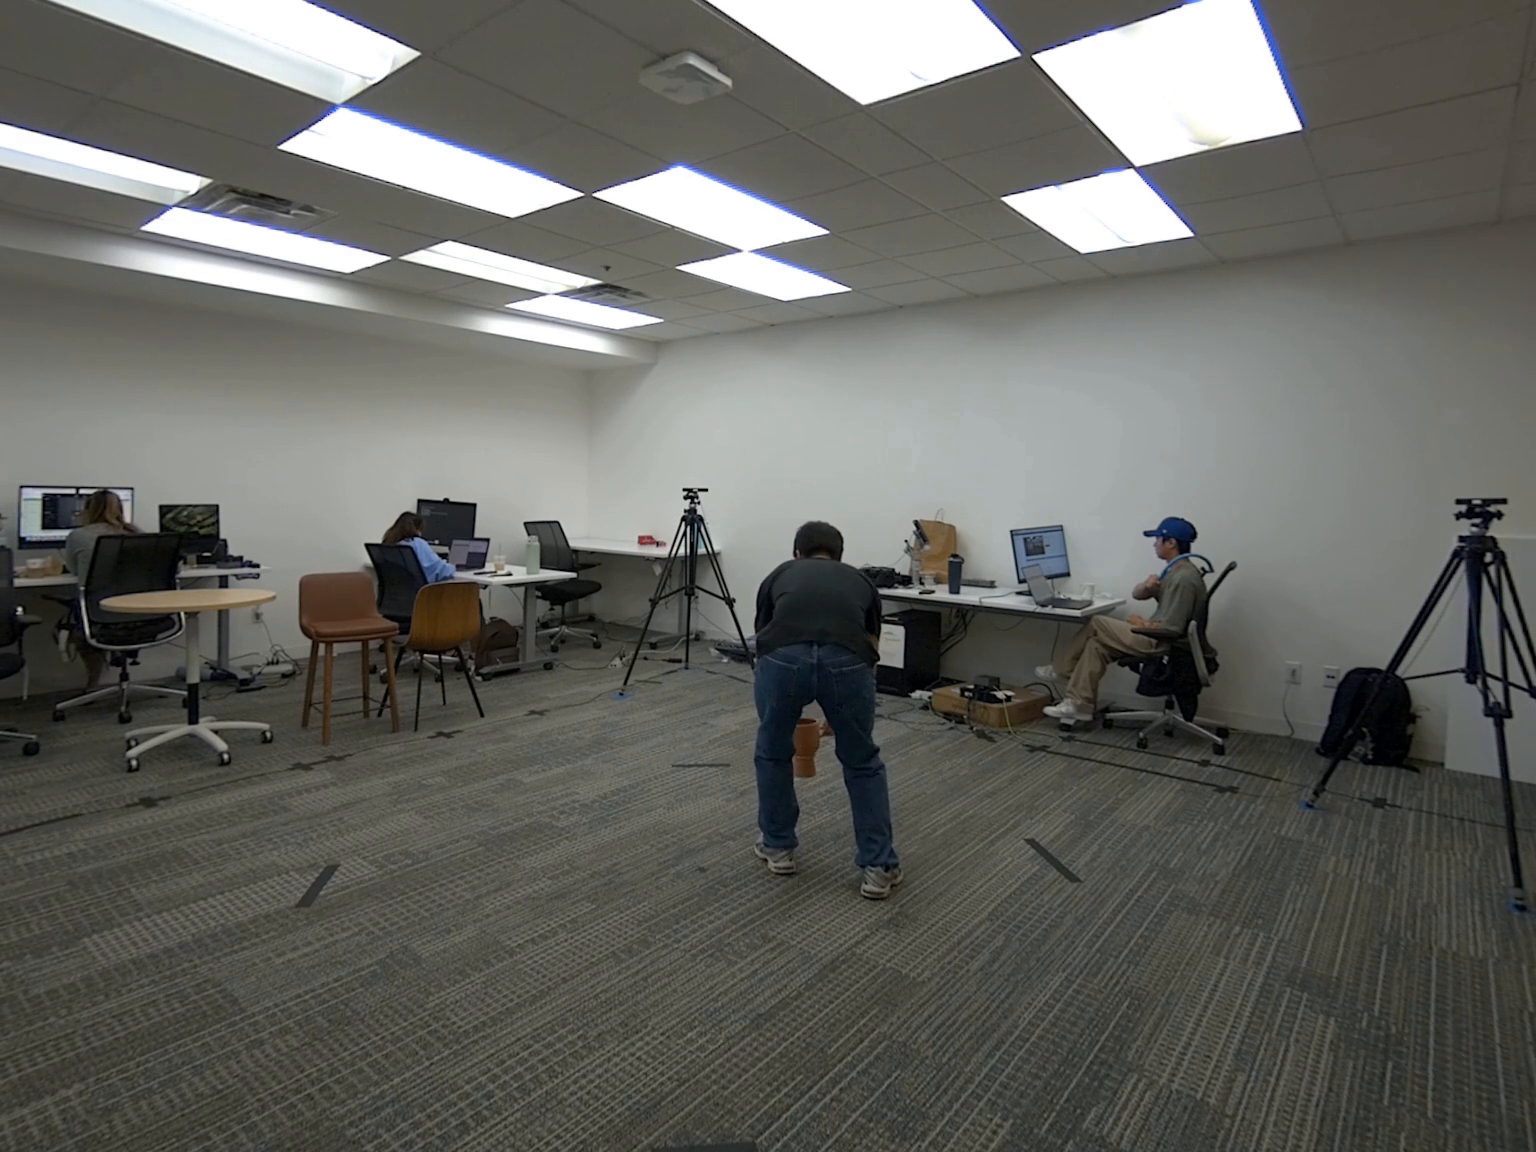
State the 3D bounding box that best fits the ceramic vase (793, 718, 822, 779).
[{"bbox_3d":[0.149,0.707,3.521,0.159,0.219,0.134,-3,2,3],"label":"ceramic vase"}]
